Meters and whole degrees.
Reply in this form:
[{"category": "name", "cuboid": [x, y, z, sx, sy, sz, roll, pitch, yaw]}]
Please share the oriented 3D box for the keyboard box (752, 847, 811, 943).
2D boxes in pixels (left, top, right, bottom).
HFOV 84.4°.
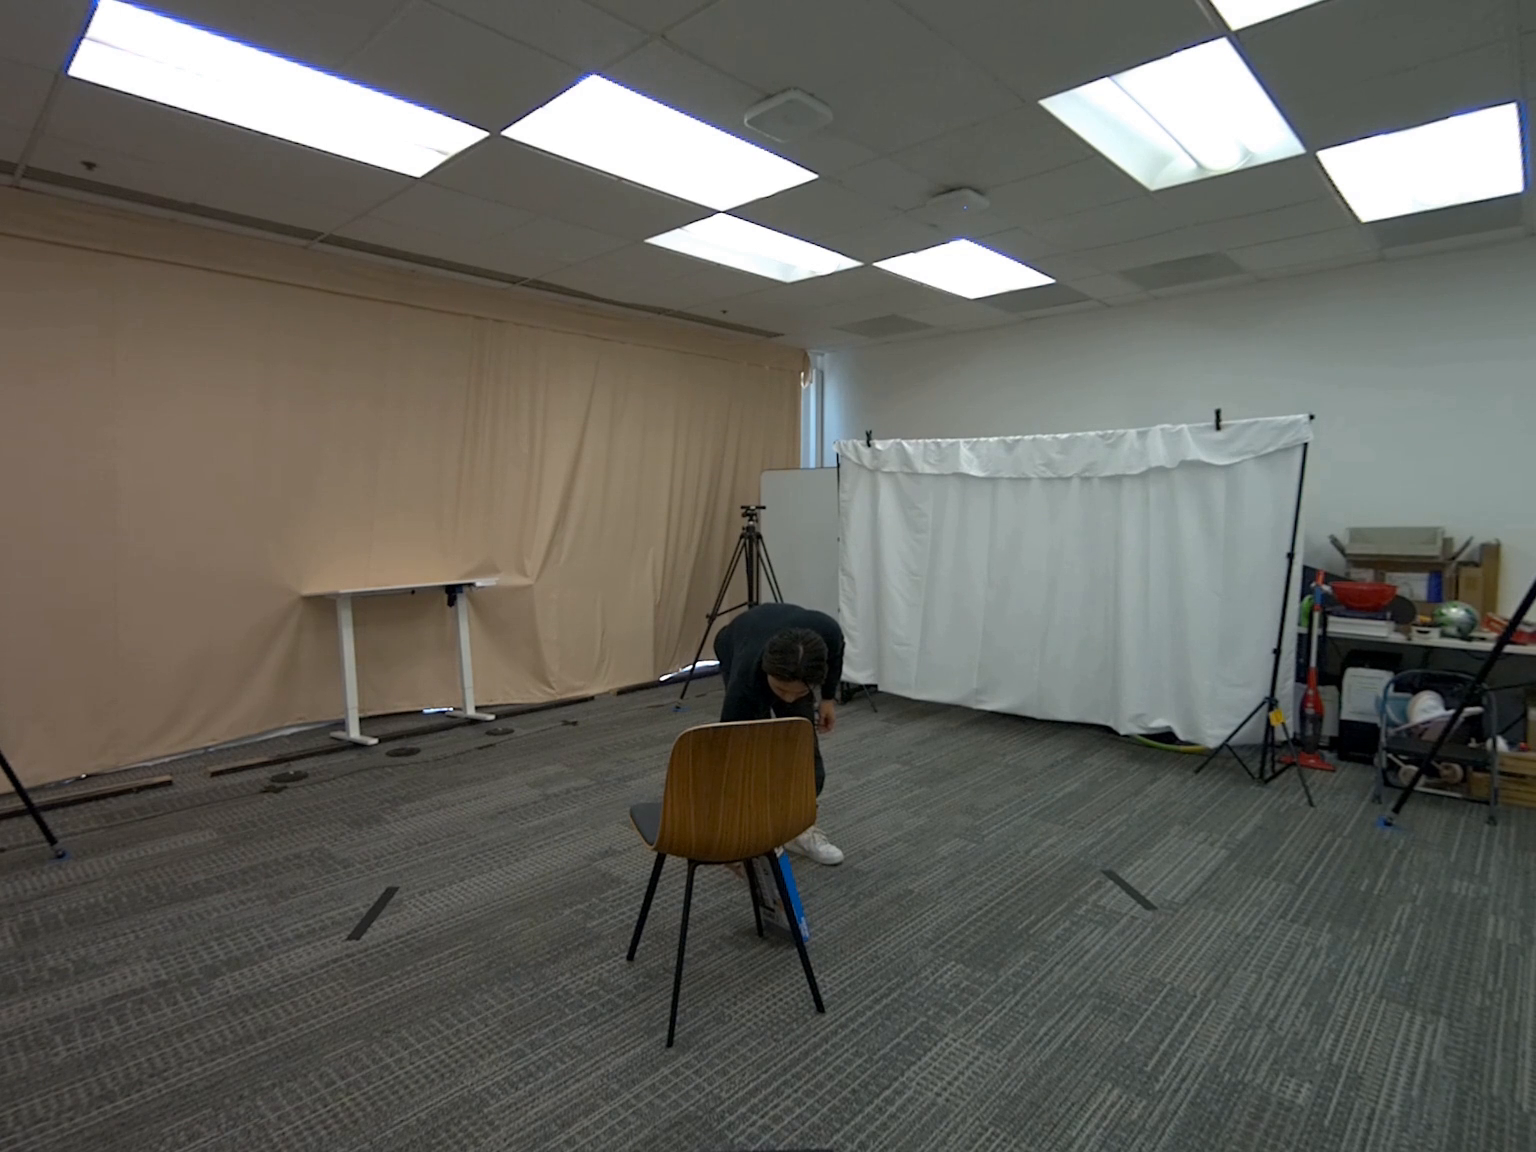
[{"category": "keyboard box", "cuboid": [0.004, 0.952, 2.673, 0.182, 0.431, 0.058, 3, 24, 46]}]
